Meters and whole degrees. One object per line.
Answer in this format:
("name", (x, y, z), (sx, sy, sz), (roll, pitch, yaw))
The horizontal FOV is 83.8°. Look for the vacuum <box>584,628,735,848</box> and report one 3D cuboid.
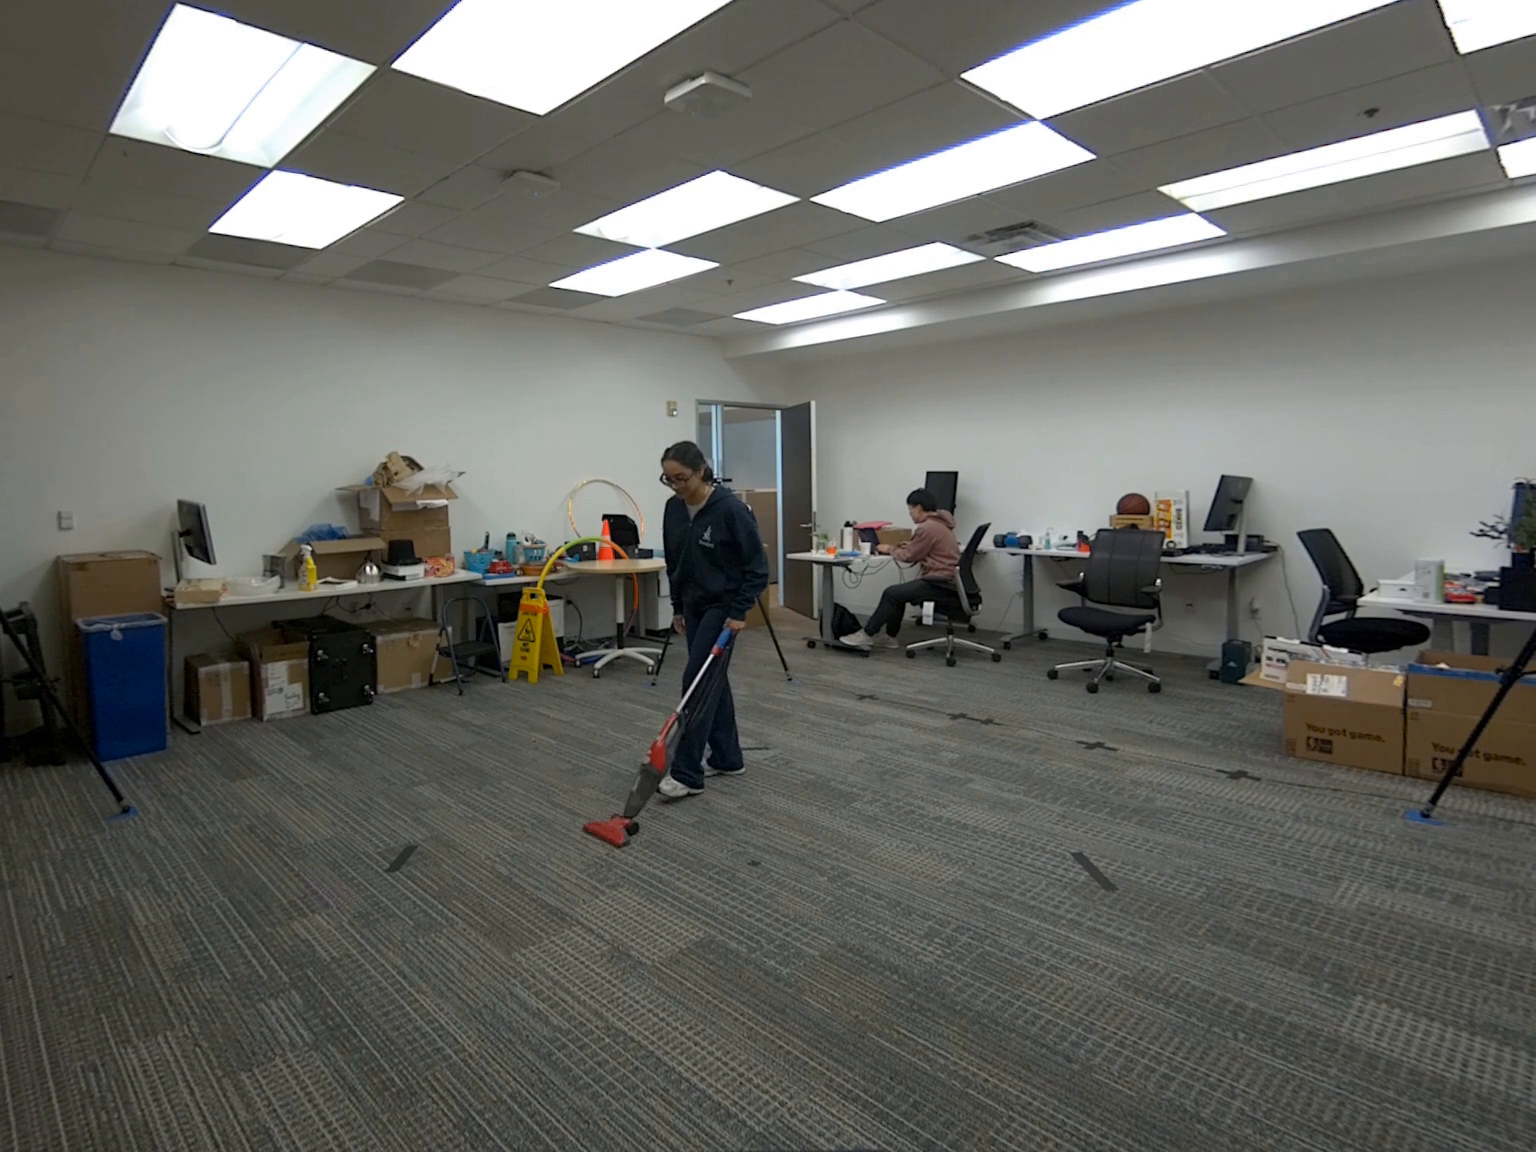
("vacuum", (-0.383, 0.613, 3.574), (0.261, 1.055, 0.138), (9, -32, 39))
